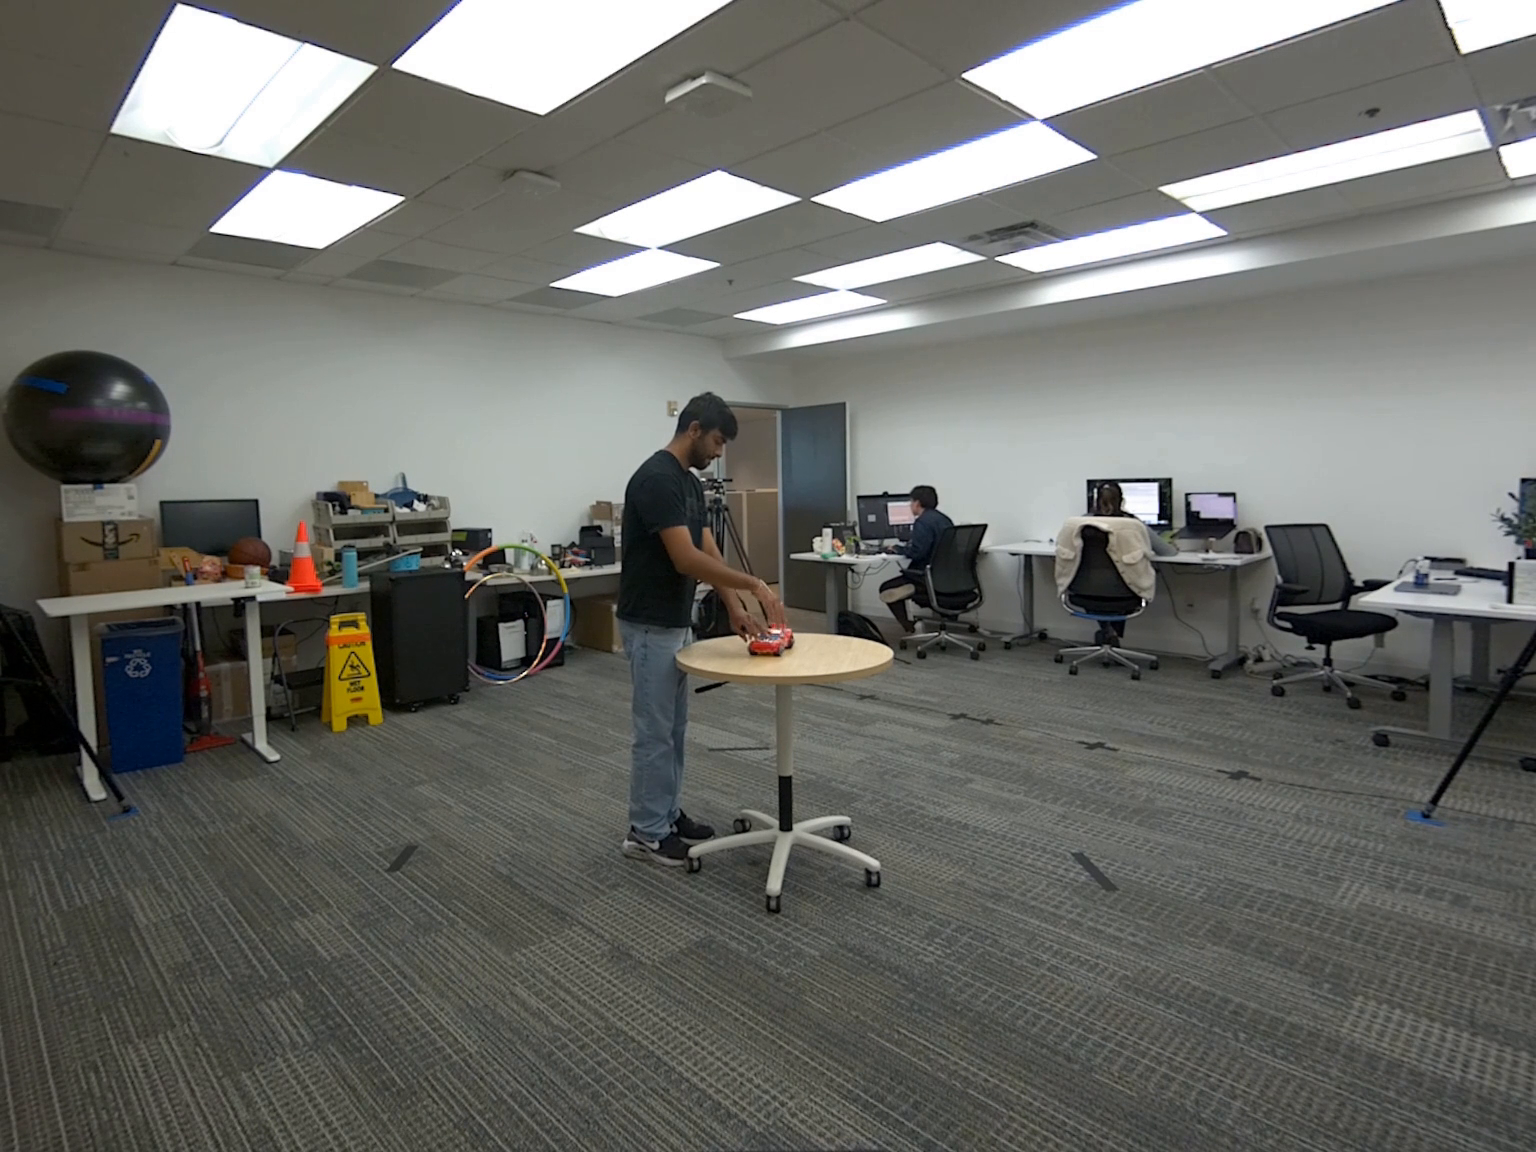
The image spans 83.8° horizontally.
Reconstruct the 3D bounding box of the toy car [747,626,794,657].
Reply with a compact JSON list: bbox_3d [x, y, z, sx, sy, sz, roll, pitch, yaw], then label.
[{"bbox_3d":[0.020,0.233,3.053,0.132,0.082,0.254,0,16,16],"label":"toy car"}]
